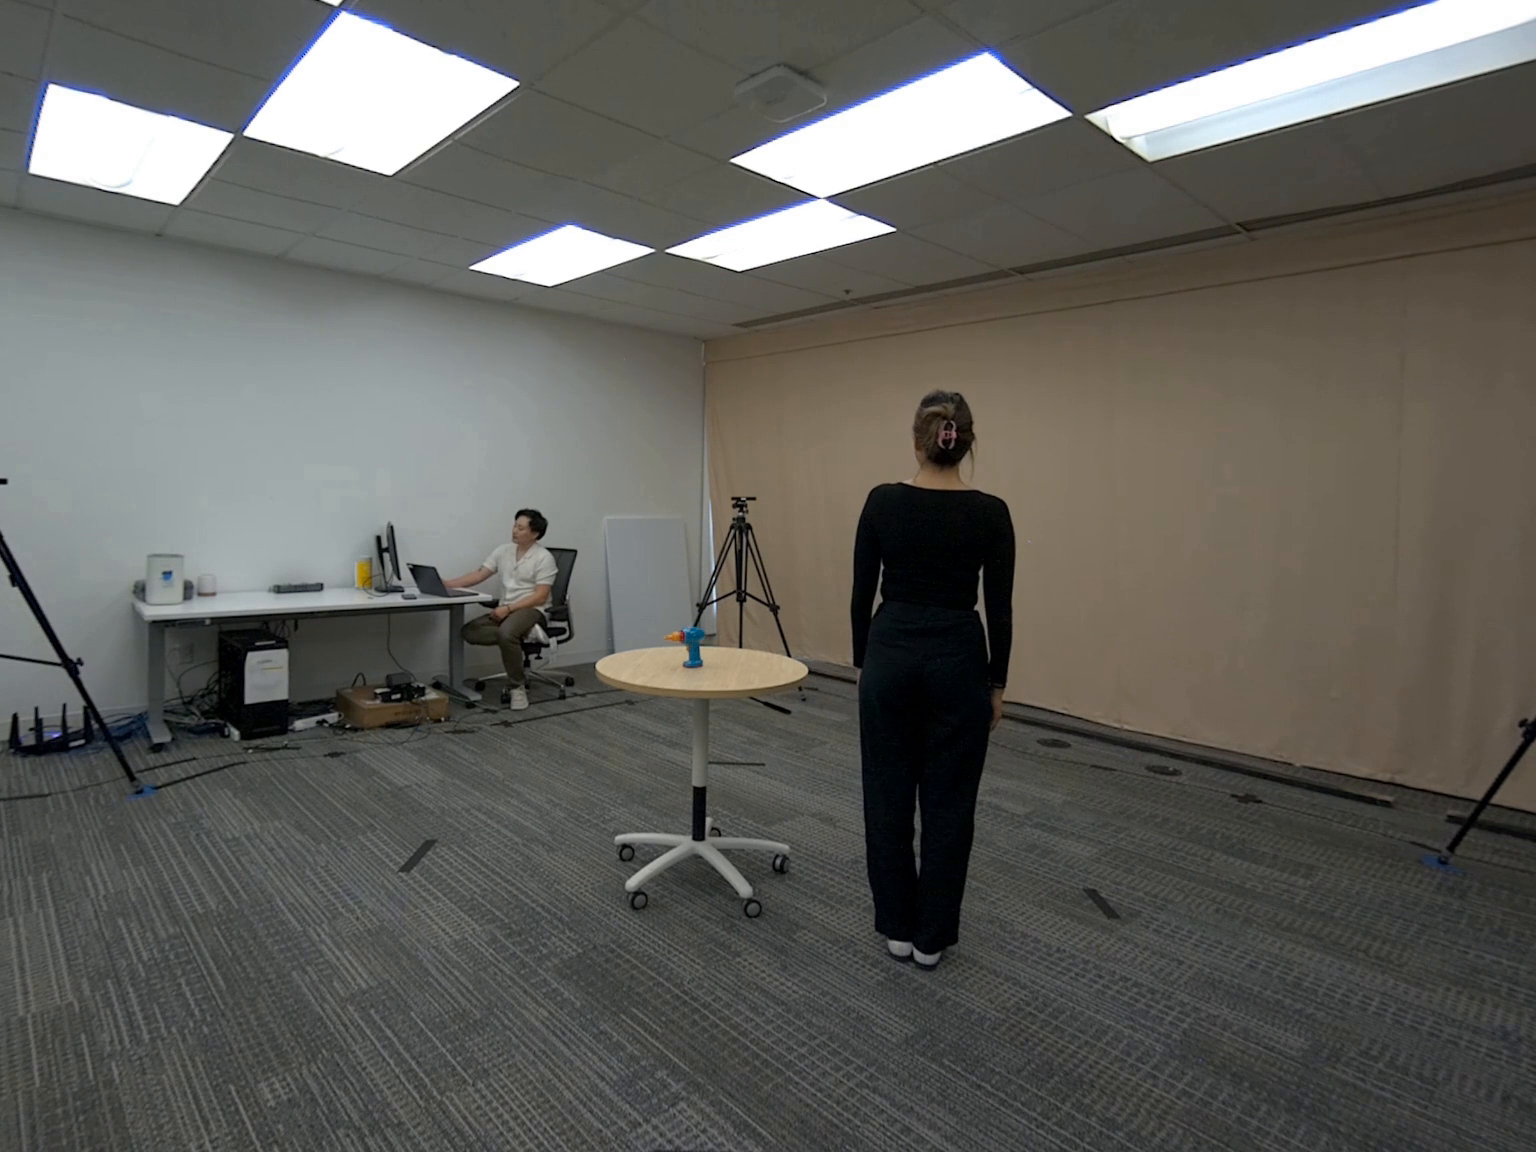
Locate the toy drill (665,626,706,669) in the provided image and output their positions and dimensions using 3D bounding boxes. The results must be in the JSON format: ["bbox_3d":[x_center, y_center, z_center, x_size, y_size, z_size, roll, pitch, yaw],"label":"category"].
[{"bbox_3d":[-0.301,0.255,2.999,0.166,0.145,0.063,-1,6,-38],"label":"toy drill"}]
